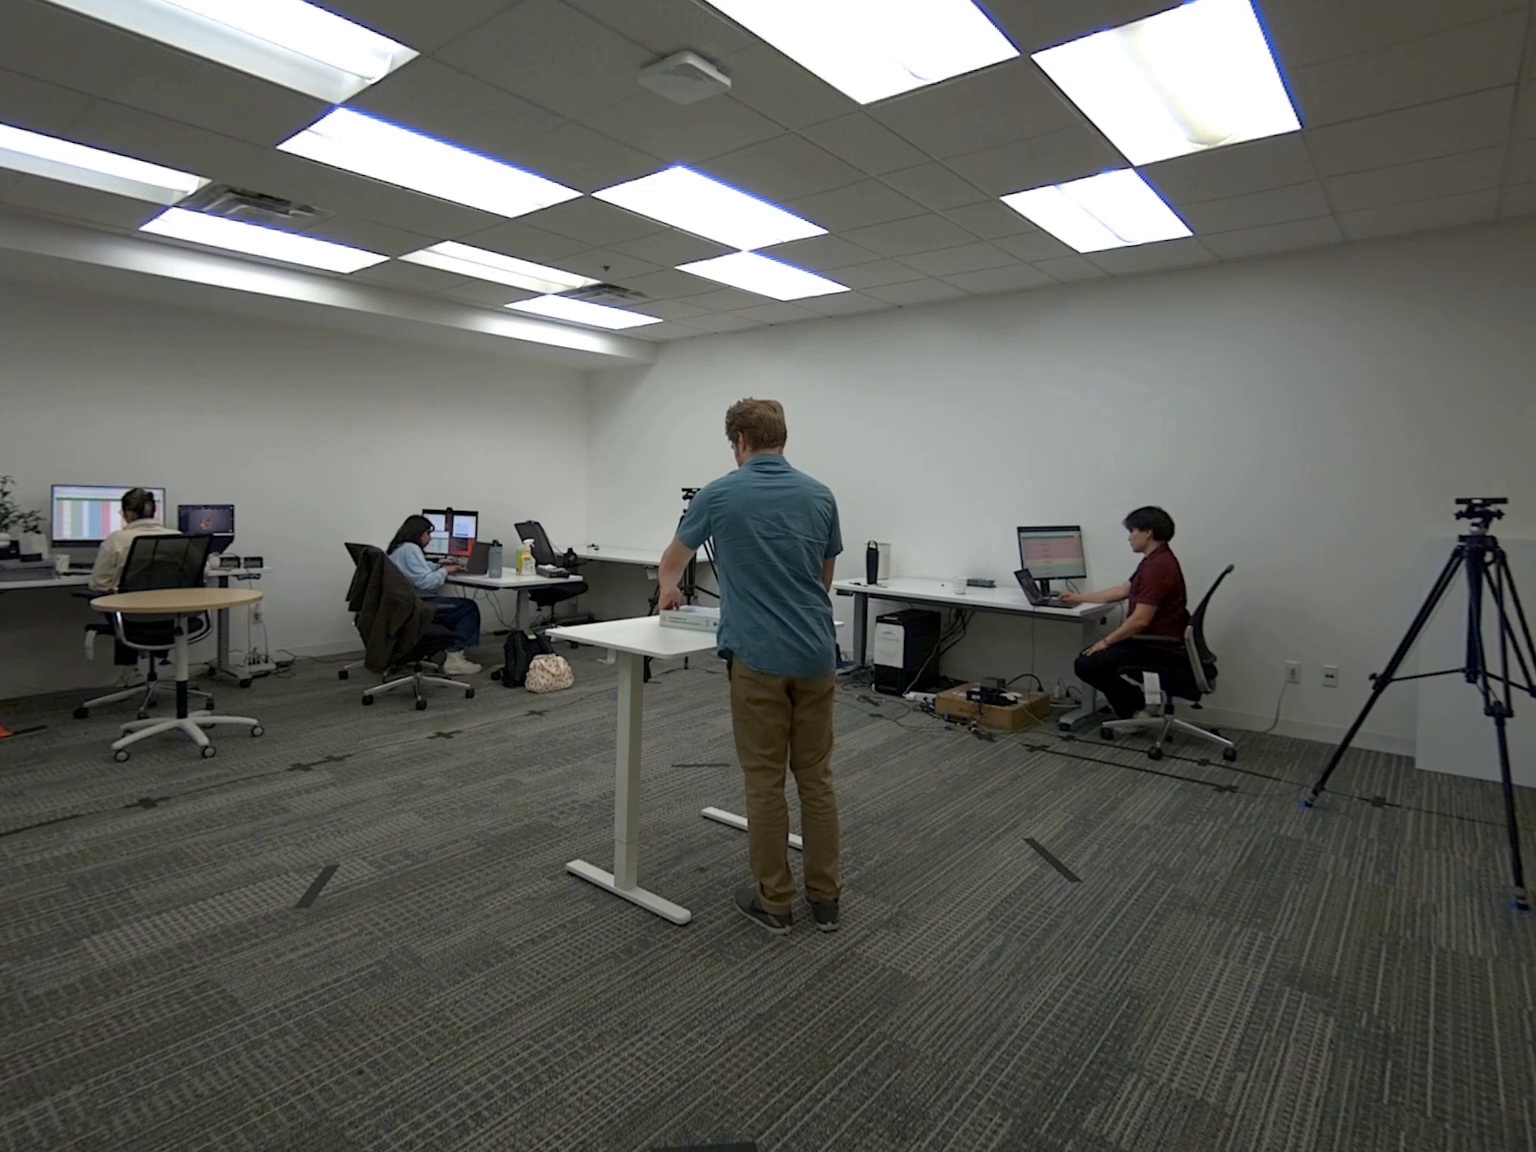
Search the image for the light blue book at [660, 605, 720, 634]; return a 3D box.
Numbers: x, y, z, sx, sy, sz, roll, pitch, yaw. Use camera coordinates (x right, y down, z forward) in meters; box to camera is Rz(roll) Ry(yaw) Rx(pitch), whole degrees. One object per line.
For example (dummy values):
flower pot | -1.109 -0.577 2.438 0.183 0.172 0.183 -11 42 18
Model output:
light blue book | -0.242 0.159 3.131 0.268 0.059 0.187 3 7 26
